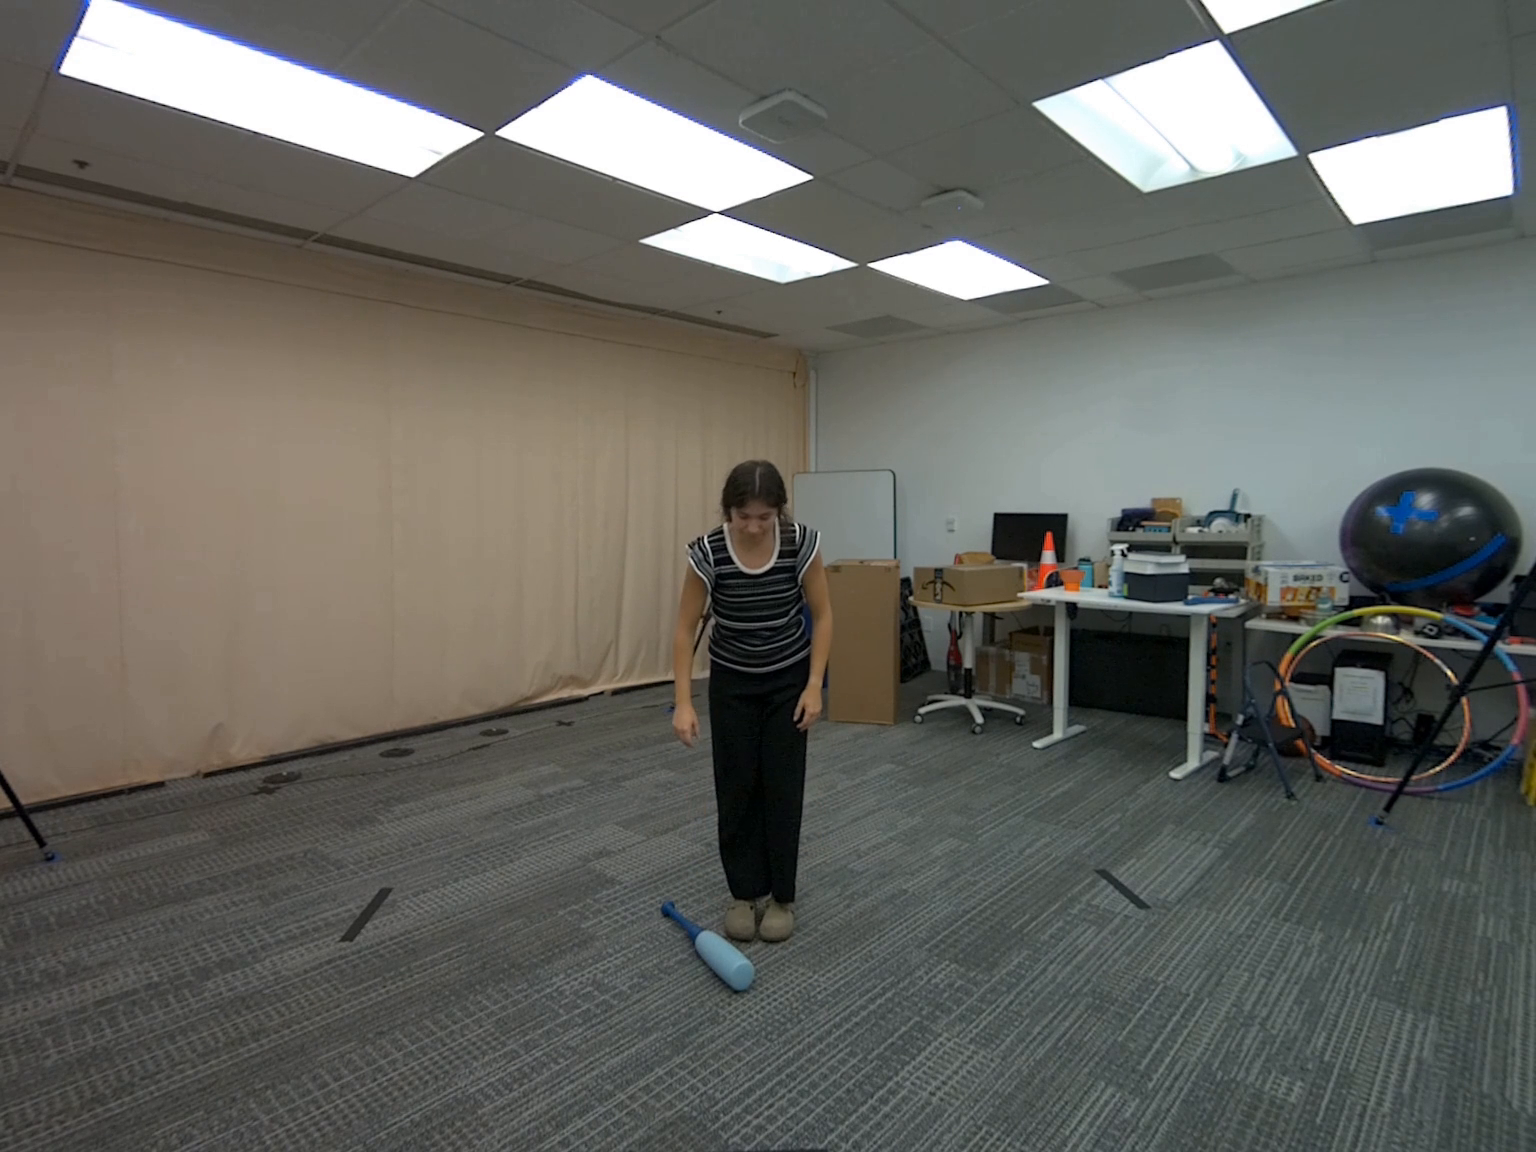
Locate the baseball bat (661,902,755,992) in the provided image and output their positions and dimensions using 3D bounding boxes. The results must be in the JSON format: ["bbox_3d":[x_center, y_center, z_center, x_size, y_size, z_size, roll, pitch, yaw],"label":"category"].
[{"bbox_3d":[-0.205,1.141,2.628,0.087,0.089,0.557,-2,1,-29],"label":"baseball bat"}]
